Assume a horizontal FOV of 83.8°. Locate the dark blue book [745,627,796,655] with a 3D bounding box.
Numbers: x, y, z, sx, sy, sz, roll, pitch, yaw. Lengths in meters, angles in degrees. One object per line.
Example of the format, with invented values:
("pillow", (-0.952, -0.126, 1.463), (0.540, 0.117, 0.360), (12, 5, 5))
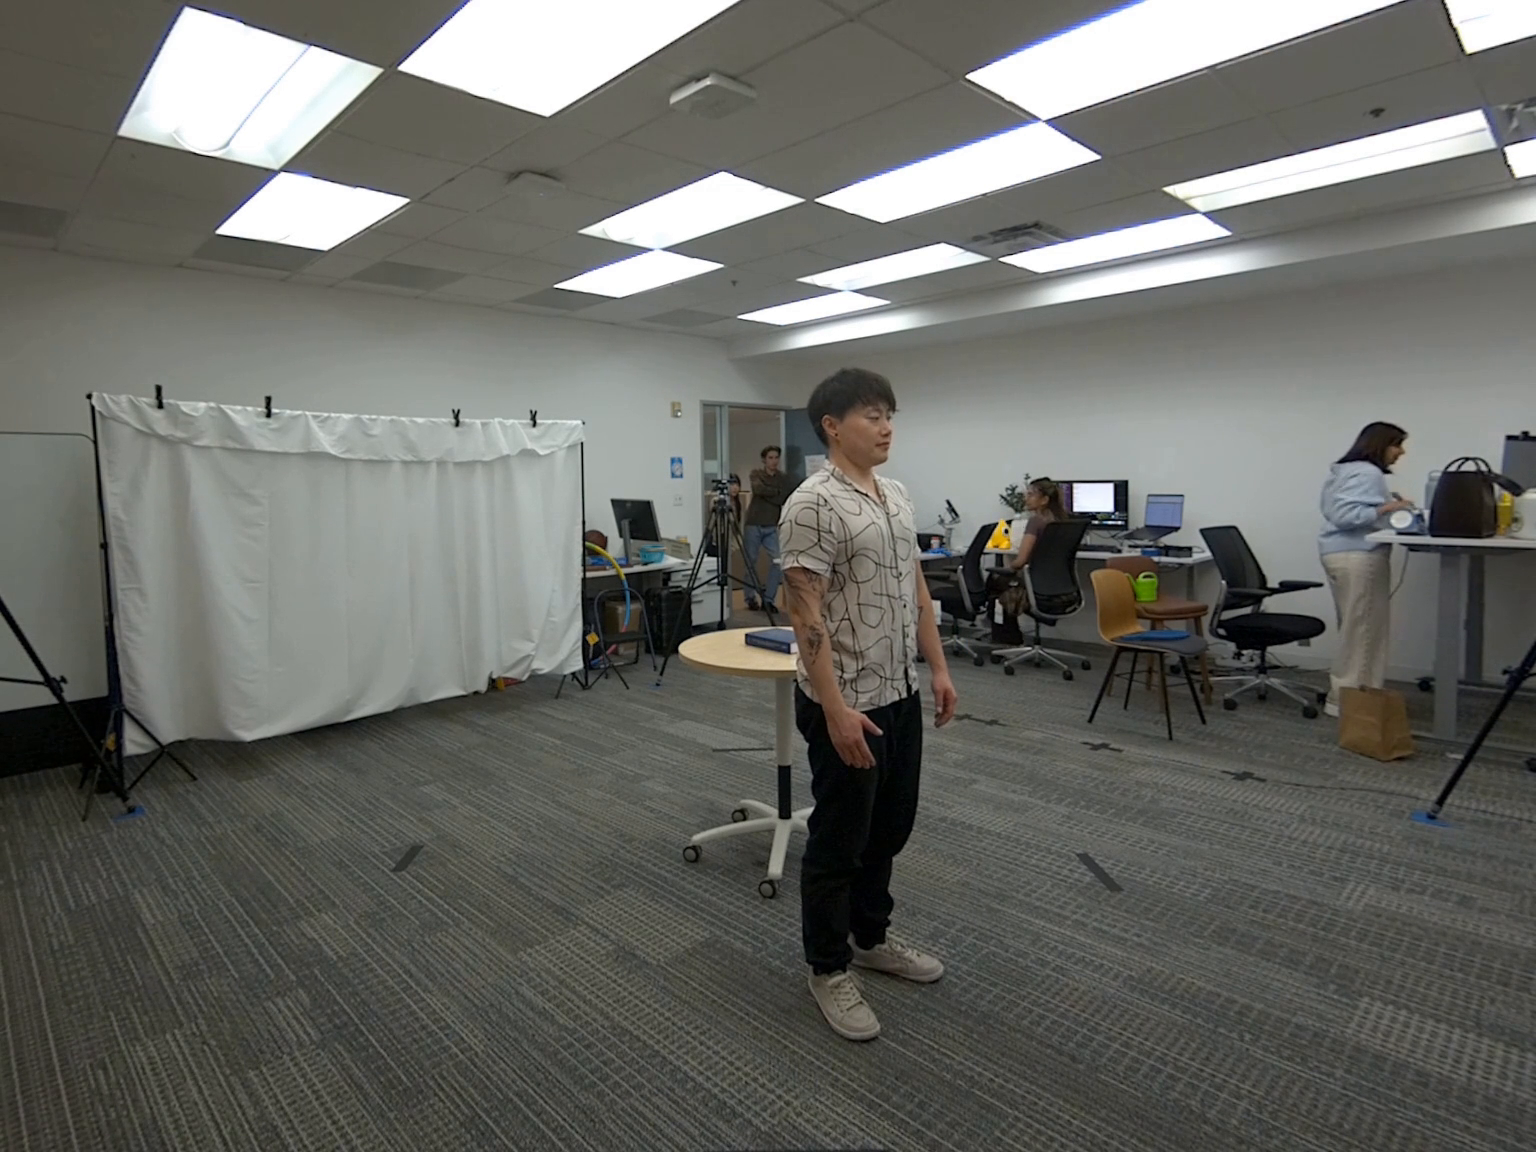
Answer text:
("dark blue book", (0.058, 0.242, 3.132), (0.159, 0.045, 0.253), (-7, 9, -41))
